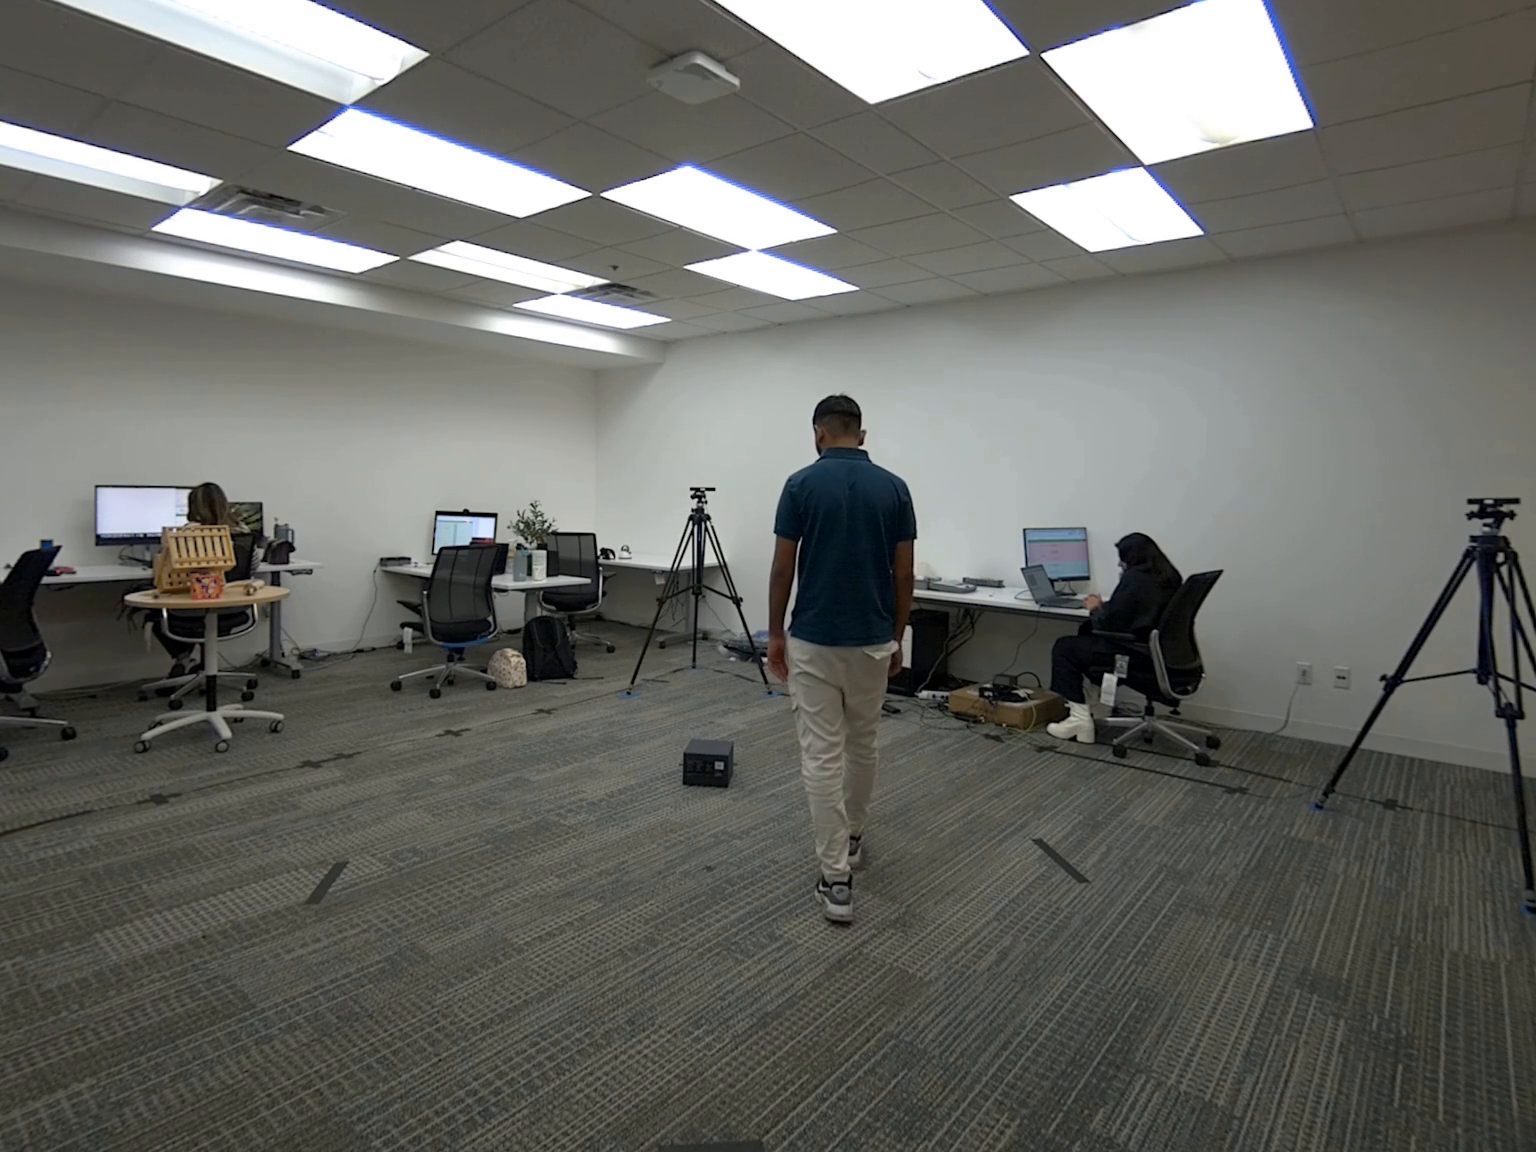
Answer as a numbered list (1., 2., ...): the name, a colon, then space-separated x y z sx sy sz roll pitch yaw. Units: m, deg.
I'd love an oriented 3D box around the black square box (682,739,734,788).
1. black square box: -0.293 0.885 4.077 0.218 0.155 0.227 2 5 5
